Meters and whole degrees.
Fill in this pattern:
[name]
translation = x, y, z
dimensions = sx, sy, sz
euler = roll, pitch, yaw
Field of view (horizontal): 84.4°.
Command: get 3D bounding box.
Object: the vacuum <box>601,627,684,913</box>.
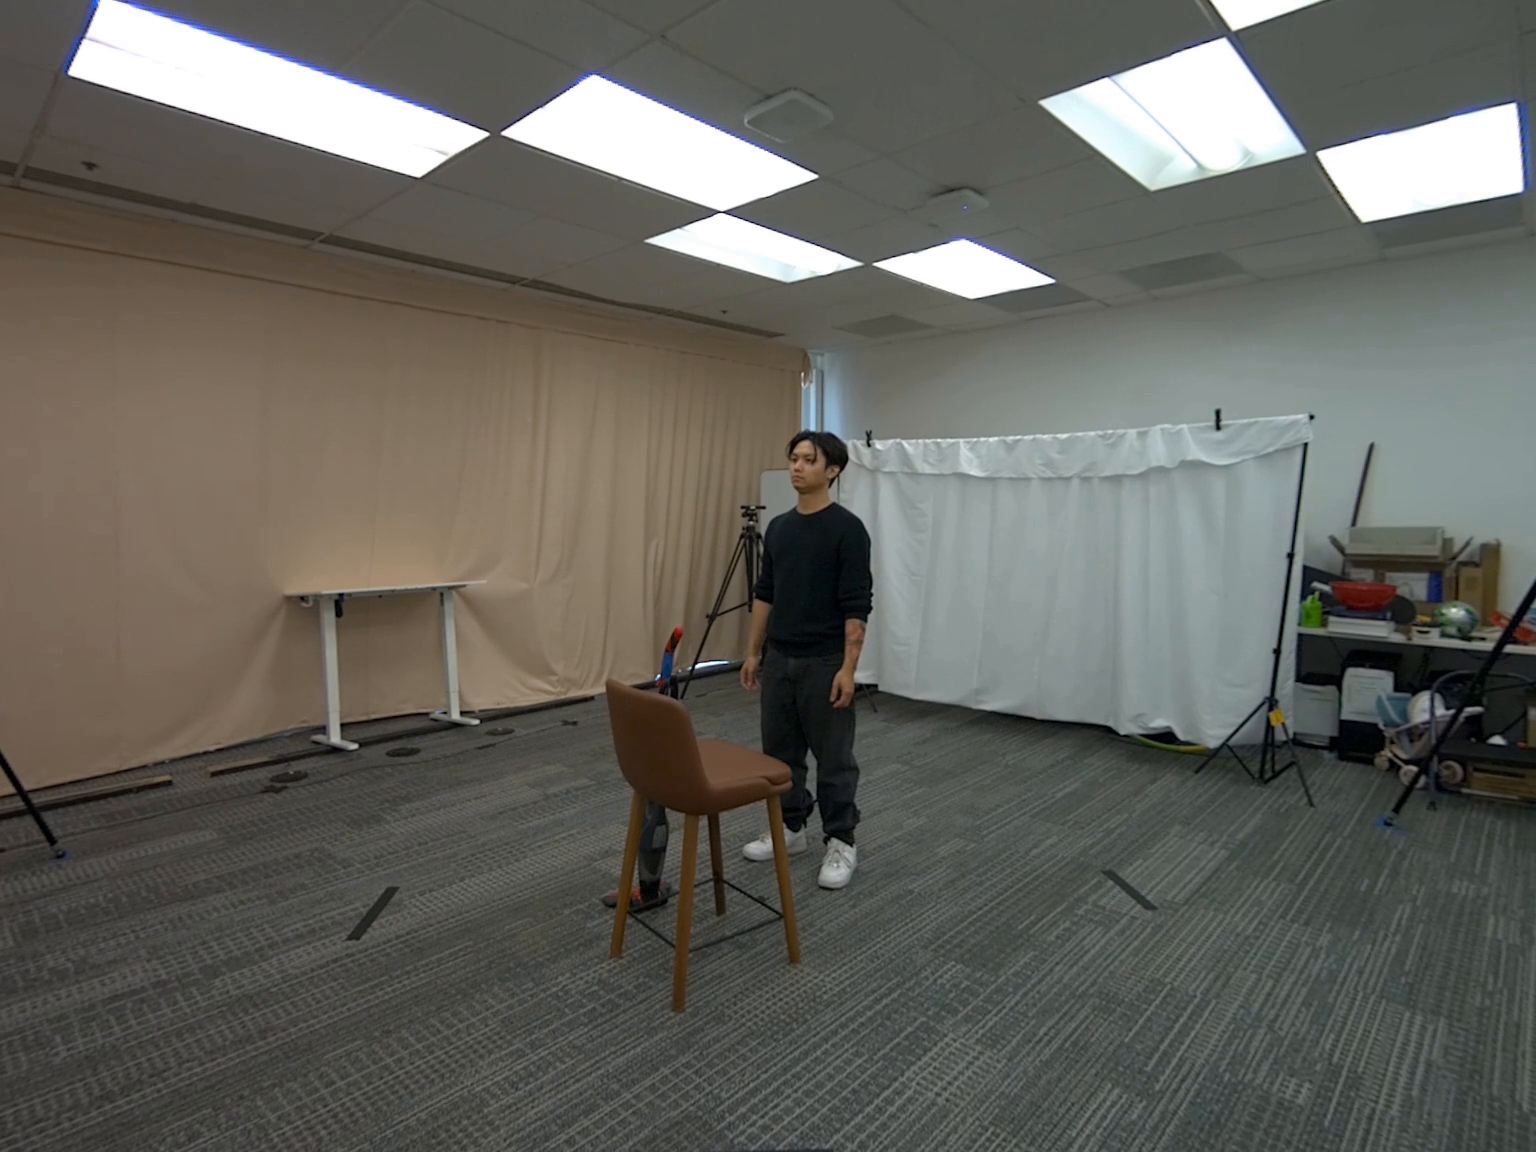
[vacuum]
translation = -0.363, 0.659, 2.804
dimensions = 0.245, 1.041, 0.149
euler = -3, 21, -34
